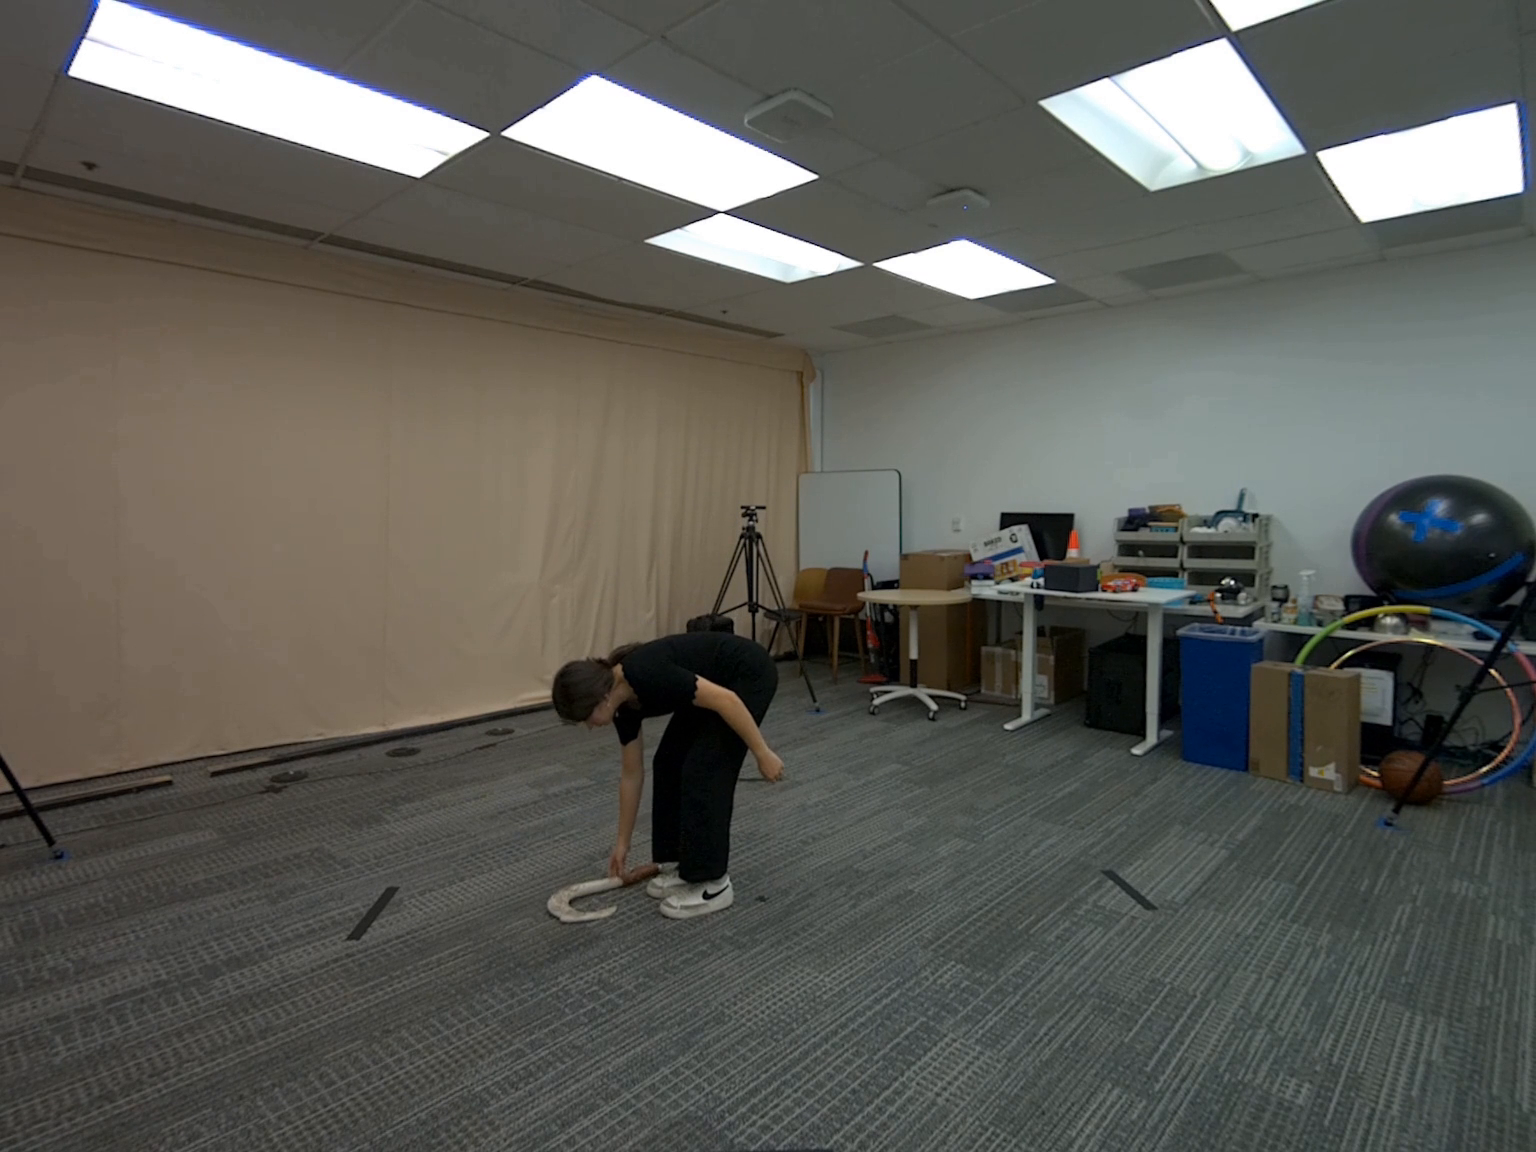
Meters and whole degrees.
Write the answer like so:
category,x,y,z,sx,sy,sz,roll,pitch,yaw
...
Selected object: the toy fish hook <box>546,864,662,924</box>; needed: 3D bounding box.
category,x,y,z,sx,sy,sz,roll,pitch,yaw
toy fish hook,-0.546,1.129,3.011,0.491,0.048,0.233,-6,16,-44
